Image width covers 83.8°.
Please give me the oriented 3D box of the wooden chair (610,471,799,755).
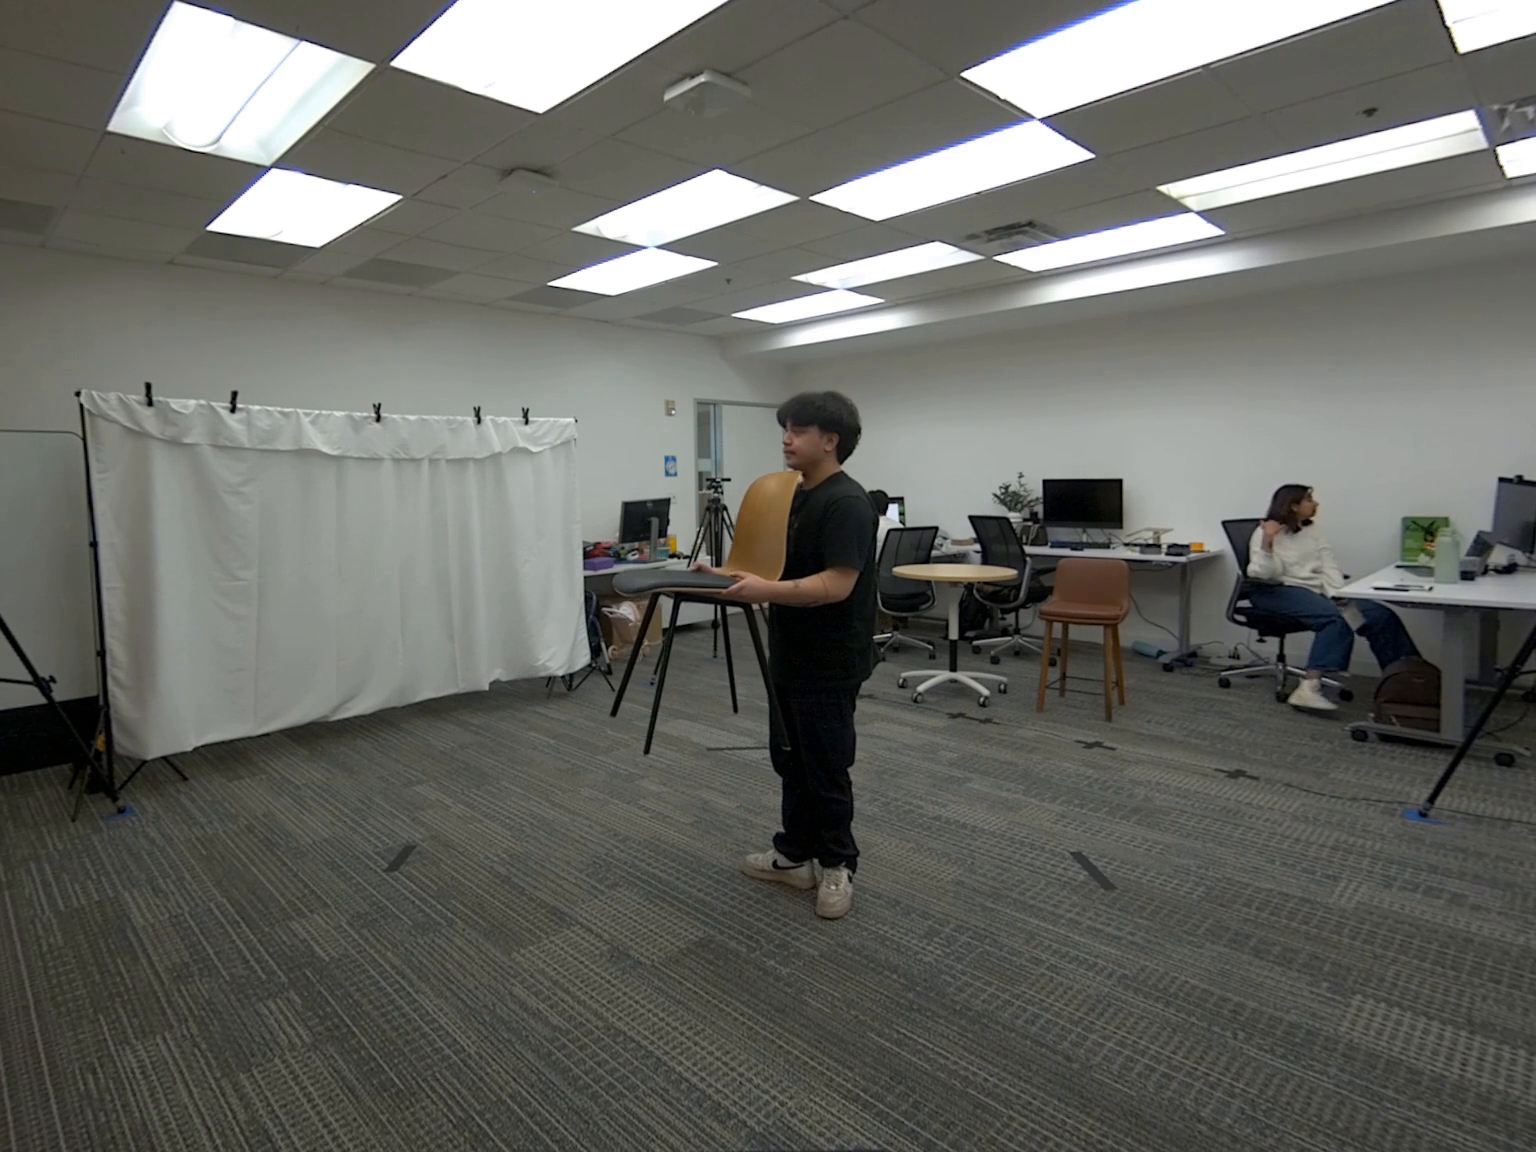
[{"bbox_3d":[-0.204,0.075,2.672,0.512,0.876,0.489,6,2,-21],"label":"wooden chair"}]
